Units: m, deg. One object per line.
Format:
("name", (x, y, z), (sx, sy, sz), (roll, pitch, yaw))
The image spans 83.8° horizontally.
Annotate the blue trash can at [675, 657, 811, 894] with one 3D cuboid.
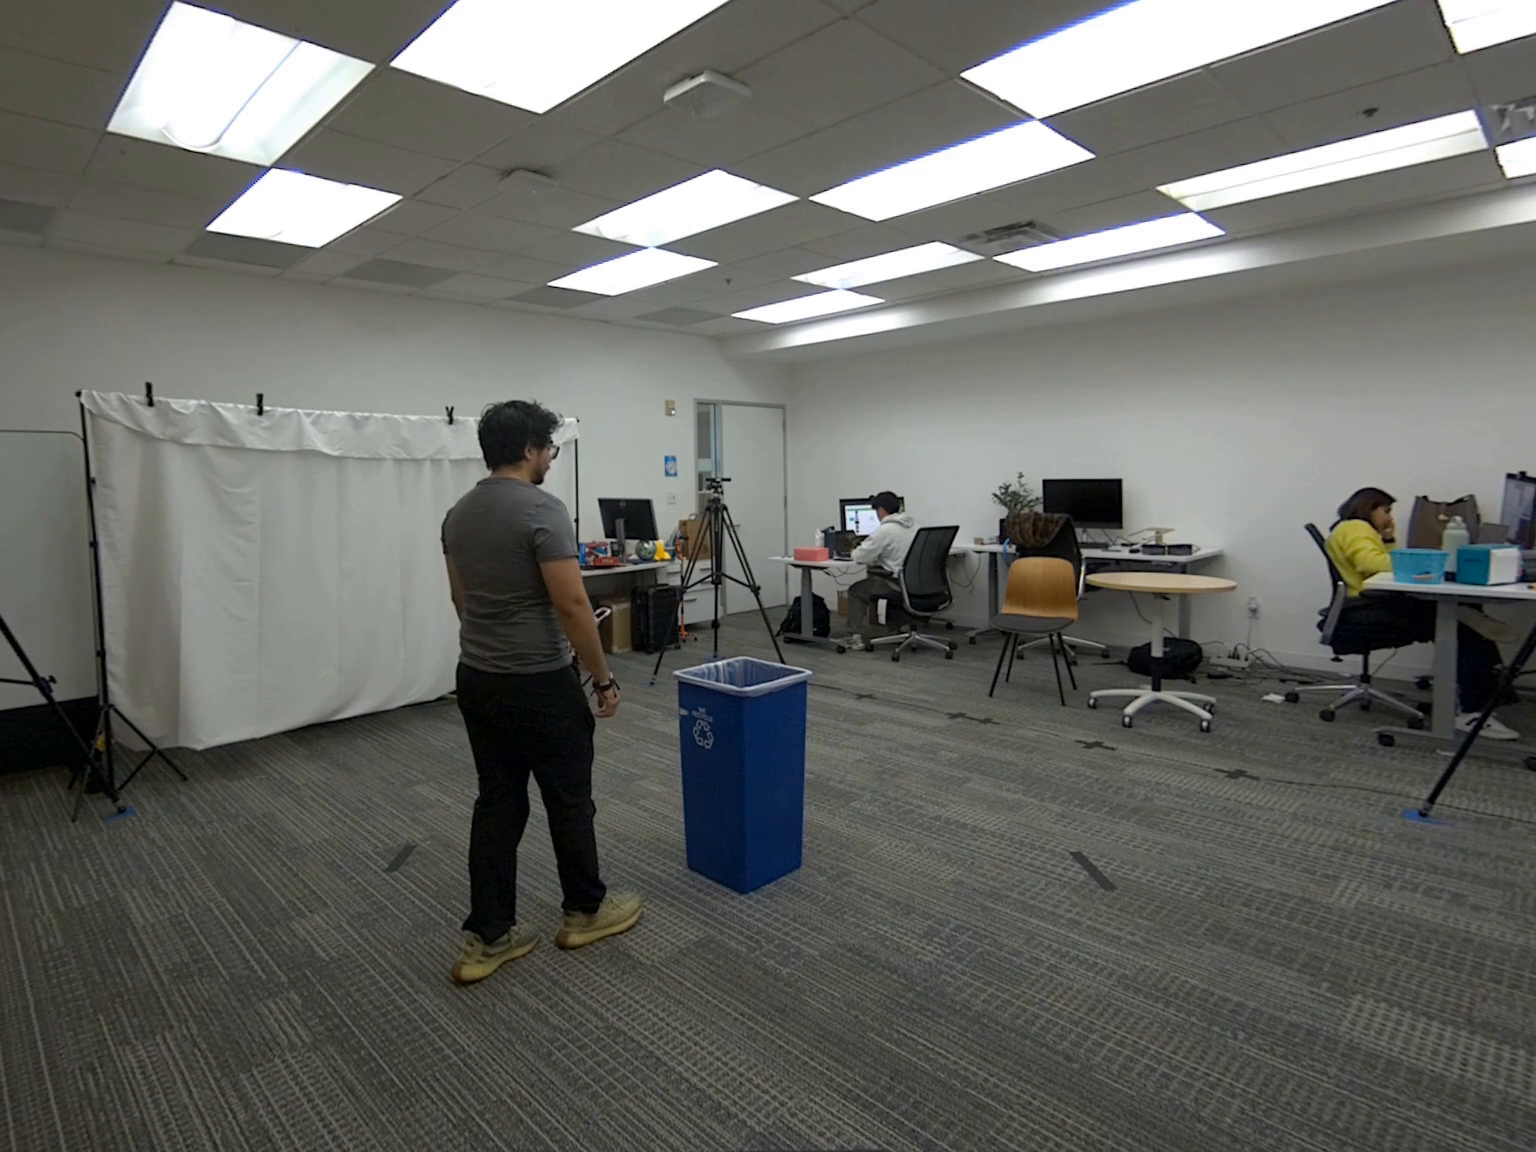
("blue trash can", (-0.084, 0.691, 3.057), (0.390, 0.710, 0.364), (4, 7, 44))
